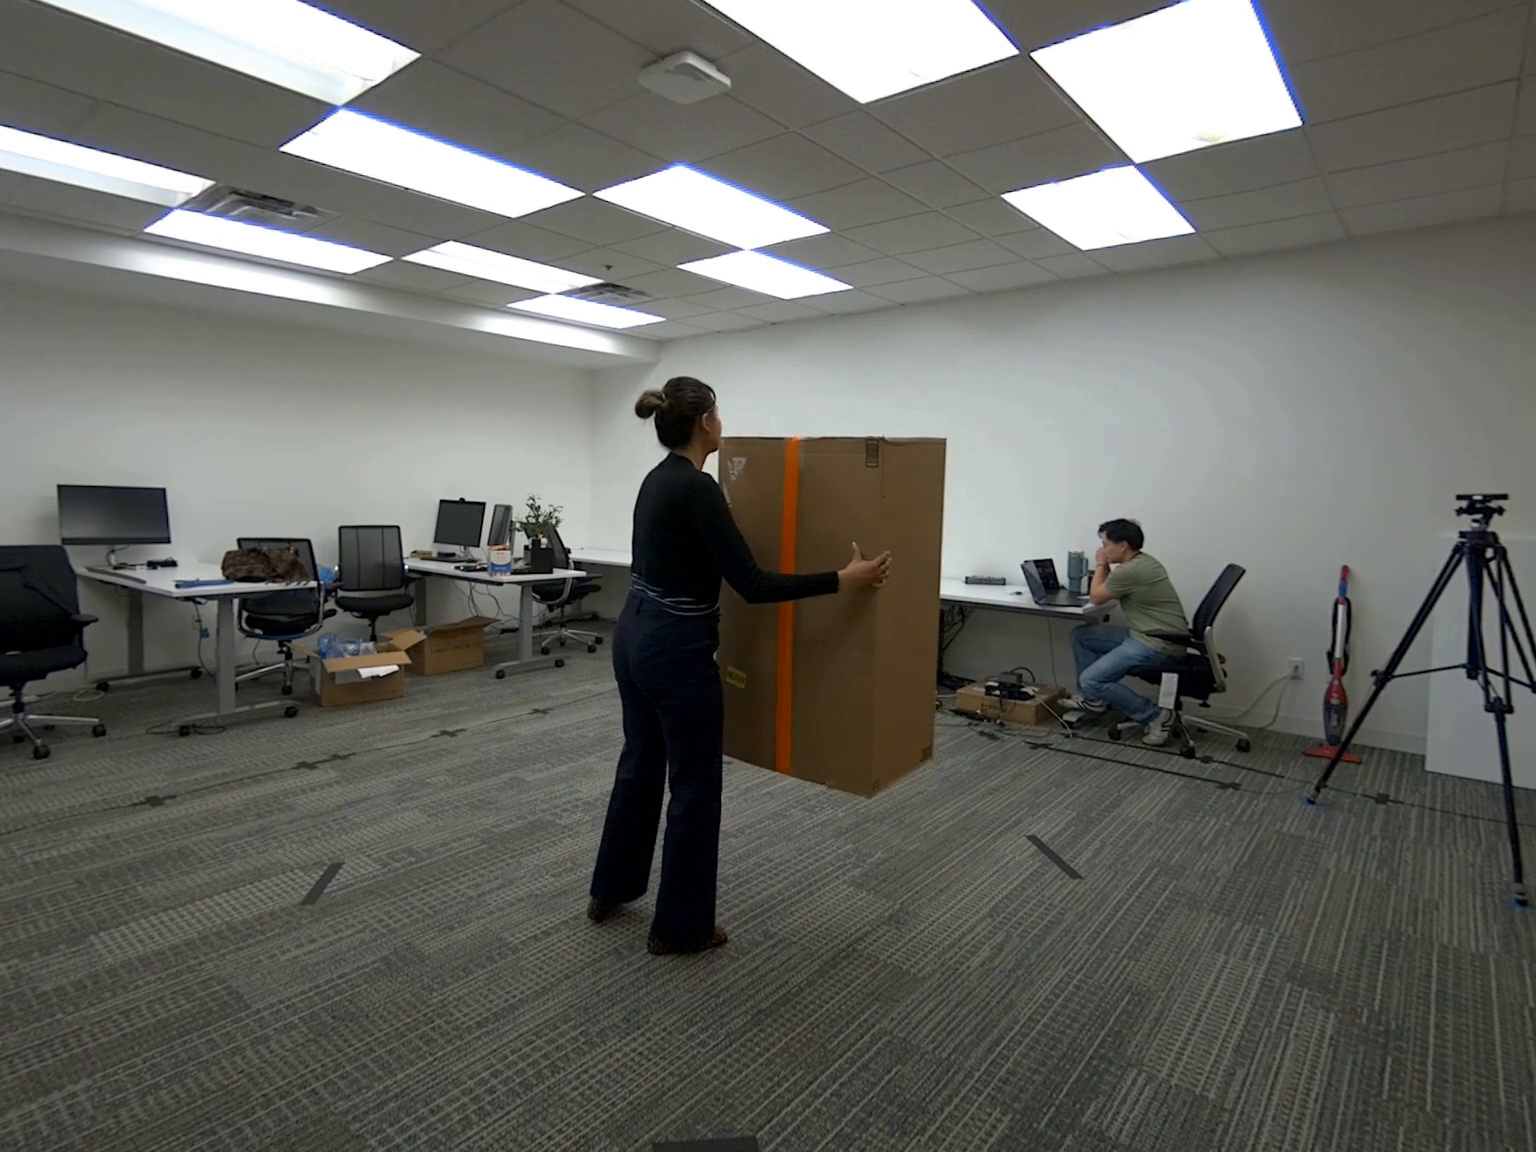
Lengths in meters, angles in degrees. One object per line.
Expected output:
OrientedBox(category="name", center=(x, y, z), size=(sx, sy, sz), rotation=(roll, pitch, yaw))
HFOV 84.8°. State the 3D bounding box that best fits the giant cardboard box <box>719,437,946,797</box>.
OrientedBox(category="giant cardboard box", center=(0.176, 0.074, 2.690), size=(0.597, 1.020, 0.414), rotation=(5, 8, 38))
